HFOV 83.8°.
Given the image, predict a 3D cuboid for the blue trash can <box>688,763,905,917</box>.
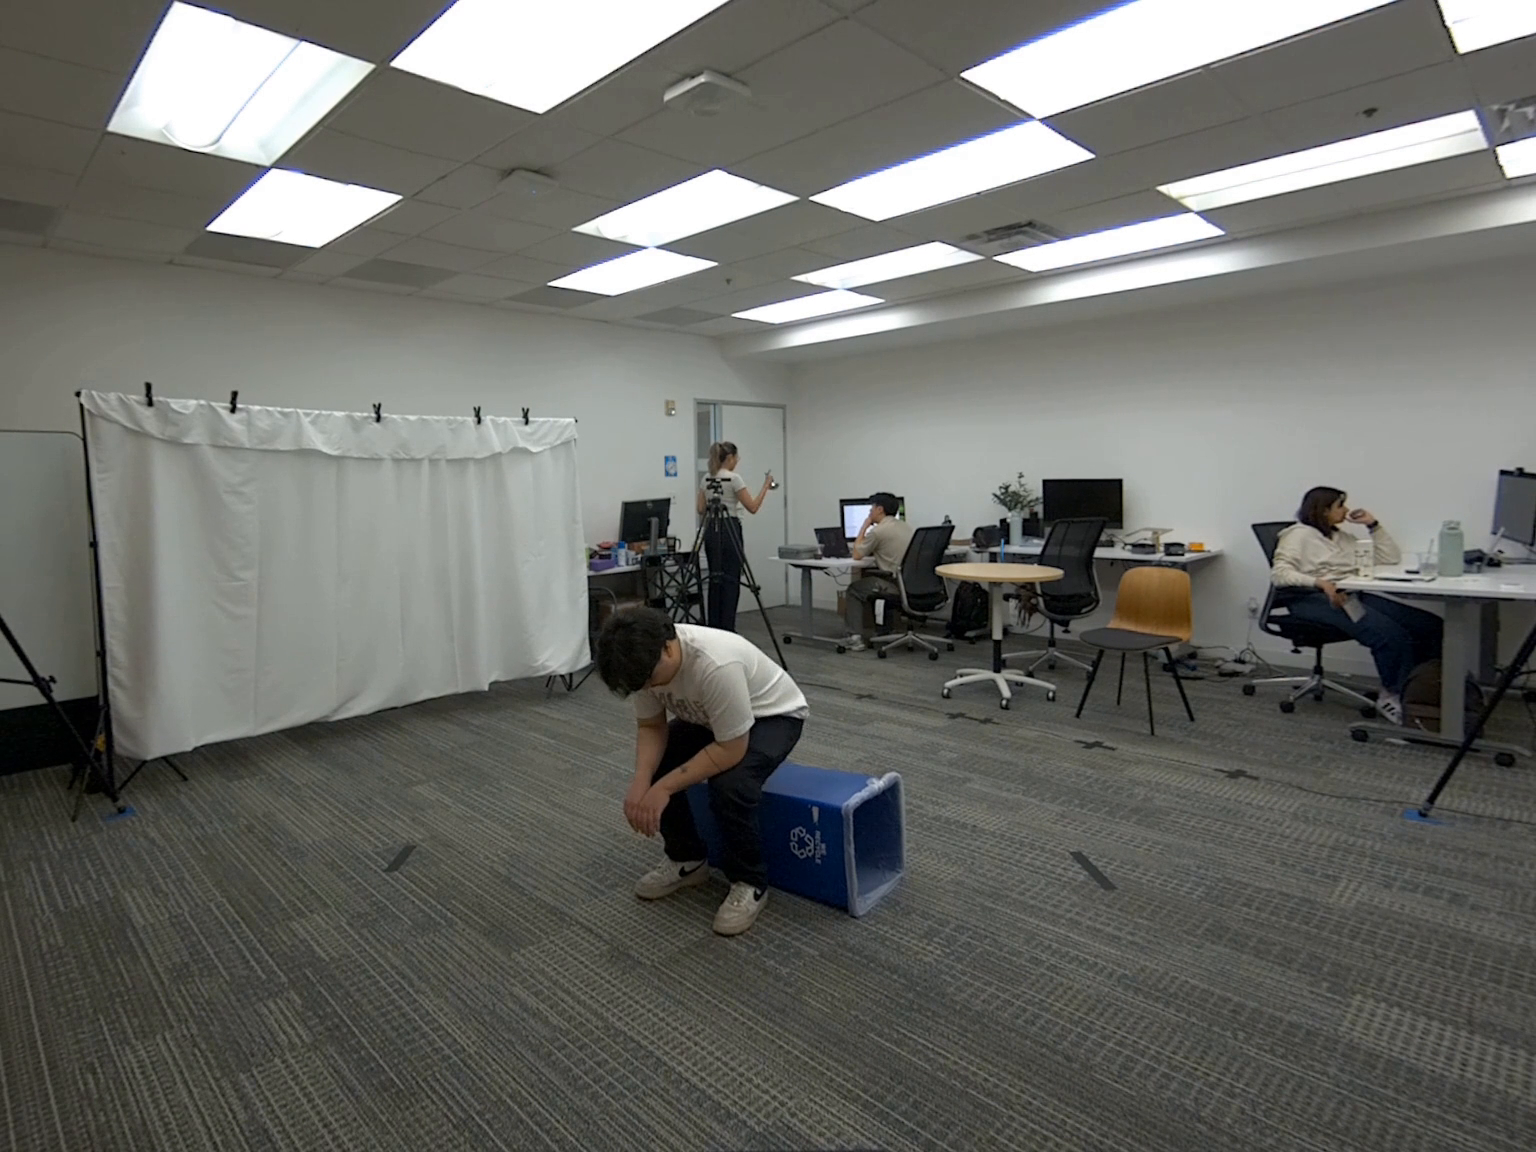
[{"bbox_3d":[0.080,0.882,3.047,0.733,0.373,0.369,0,5,36],"label":"blue trash can"}]
